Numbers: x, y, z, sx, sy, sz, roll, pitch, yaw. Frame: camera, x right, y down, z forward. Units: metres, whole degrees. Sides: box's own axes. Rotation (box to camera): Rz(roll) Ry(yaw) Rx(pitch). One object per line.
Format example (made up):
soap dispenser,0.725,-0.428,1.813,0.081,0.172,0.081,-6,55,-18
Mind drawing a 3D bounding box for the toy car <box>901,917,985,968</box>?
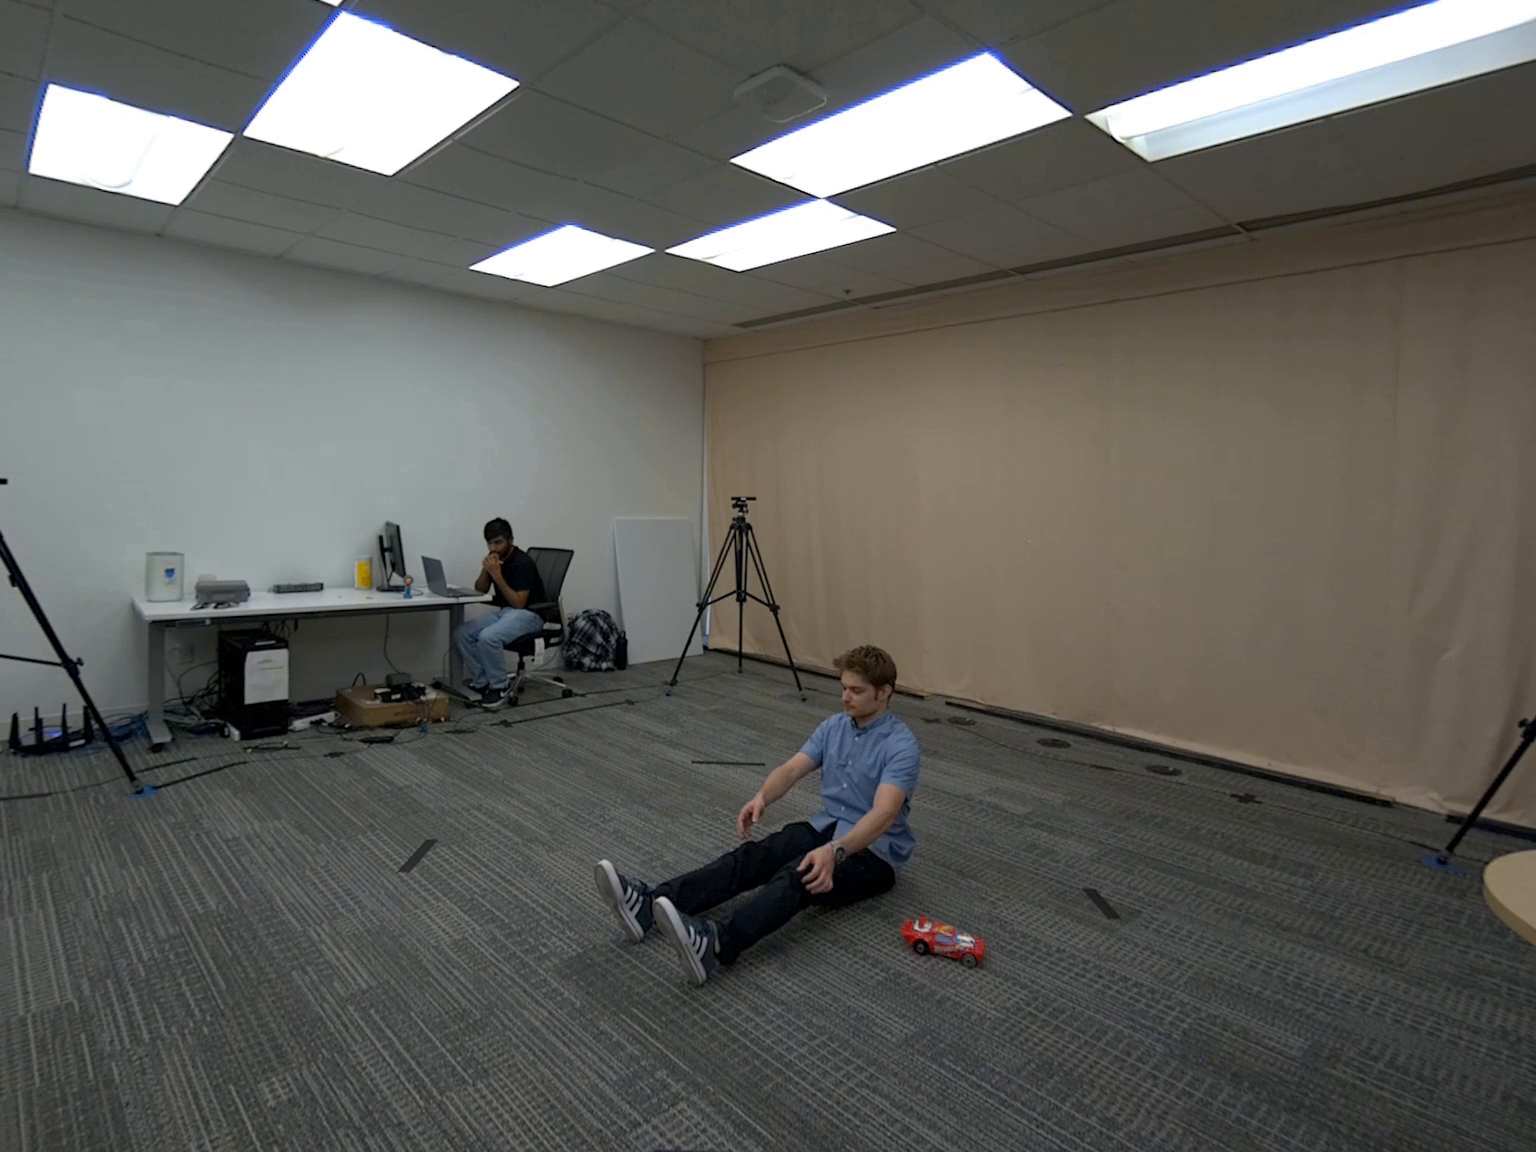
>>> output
toy car,0.525,1.138,2.620,0.260,0.083,0.128,15,10,24
